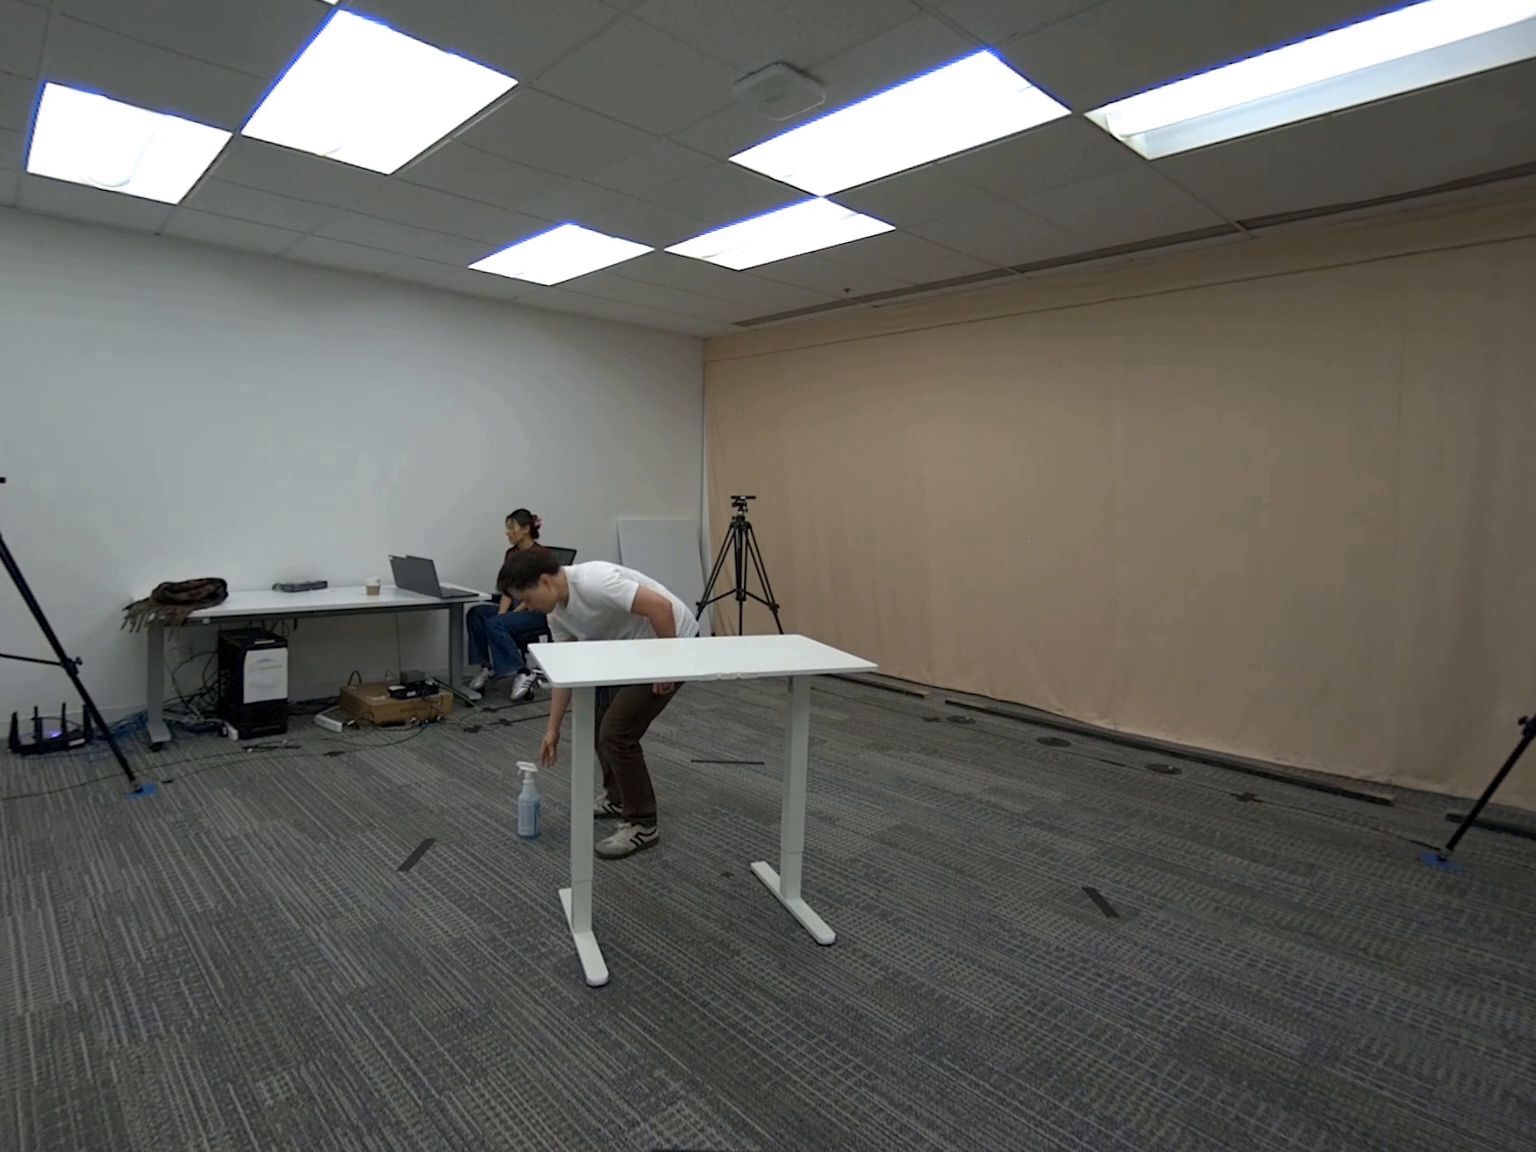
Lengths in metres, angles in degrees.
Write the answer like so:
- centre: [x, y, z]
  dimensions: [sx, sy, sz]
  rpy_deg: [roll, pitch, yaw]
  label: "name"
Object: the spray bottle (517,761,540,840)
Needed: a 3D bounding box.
- centre: [-0.976, 0.904, 3.427]
  dimensions: [0.092, 0.297, 0.085]
  rpy_deg: [4, 4, 38]
  label: "spray bottle"
